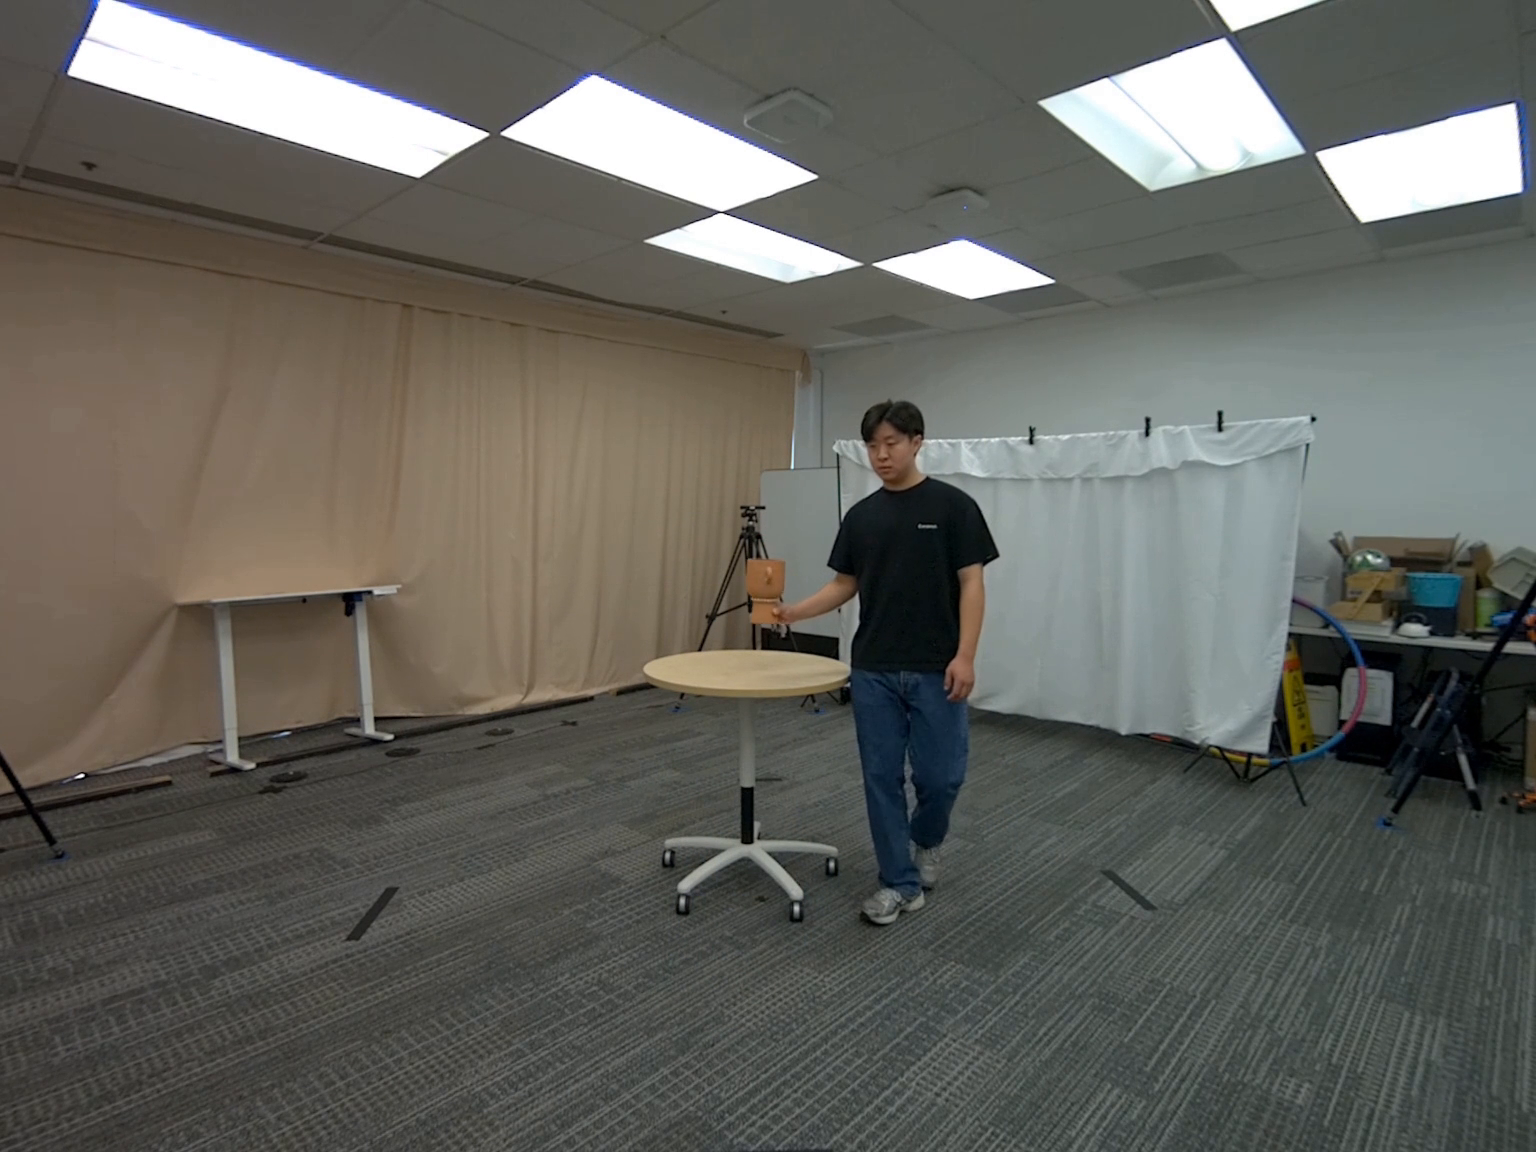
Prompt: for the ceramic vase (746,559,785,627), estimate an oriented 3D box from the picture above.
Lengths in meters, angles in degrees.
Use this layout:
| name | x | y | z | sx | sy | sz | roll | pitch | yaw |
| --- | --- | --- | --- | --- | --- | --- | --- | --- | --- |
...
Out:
| name | x | y | z | sx | sy | sz | roll | pitch | yaw |
| --- | --- | --- | --- | --- | --- | --- | --- | --- | --- |
| ceramic vase | 0.001 | 0.056 | 2.939 | 0.139 | 0.219 | 0.154 | 4 | 3 | 32 |
